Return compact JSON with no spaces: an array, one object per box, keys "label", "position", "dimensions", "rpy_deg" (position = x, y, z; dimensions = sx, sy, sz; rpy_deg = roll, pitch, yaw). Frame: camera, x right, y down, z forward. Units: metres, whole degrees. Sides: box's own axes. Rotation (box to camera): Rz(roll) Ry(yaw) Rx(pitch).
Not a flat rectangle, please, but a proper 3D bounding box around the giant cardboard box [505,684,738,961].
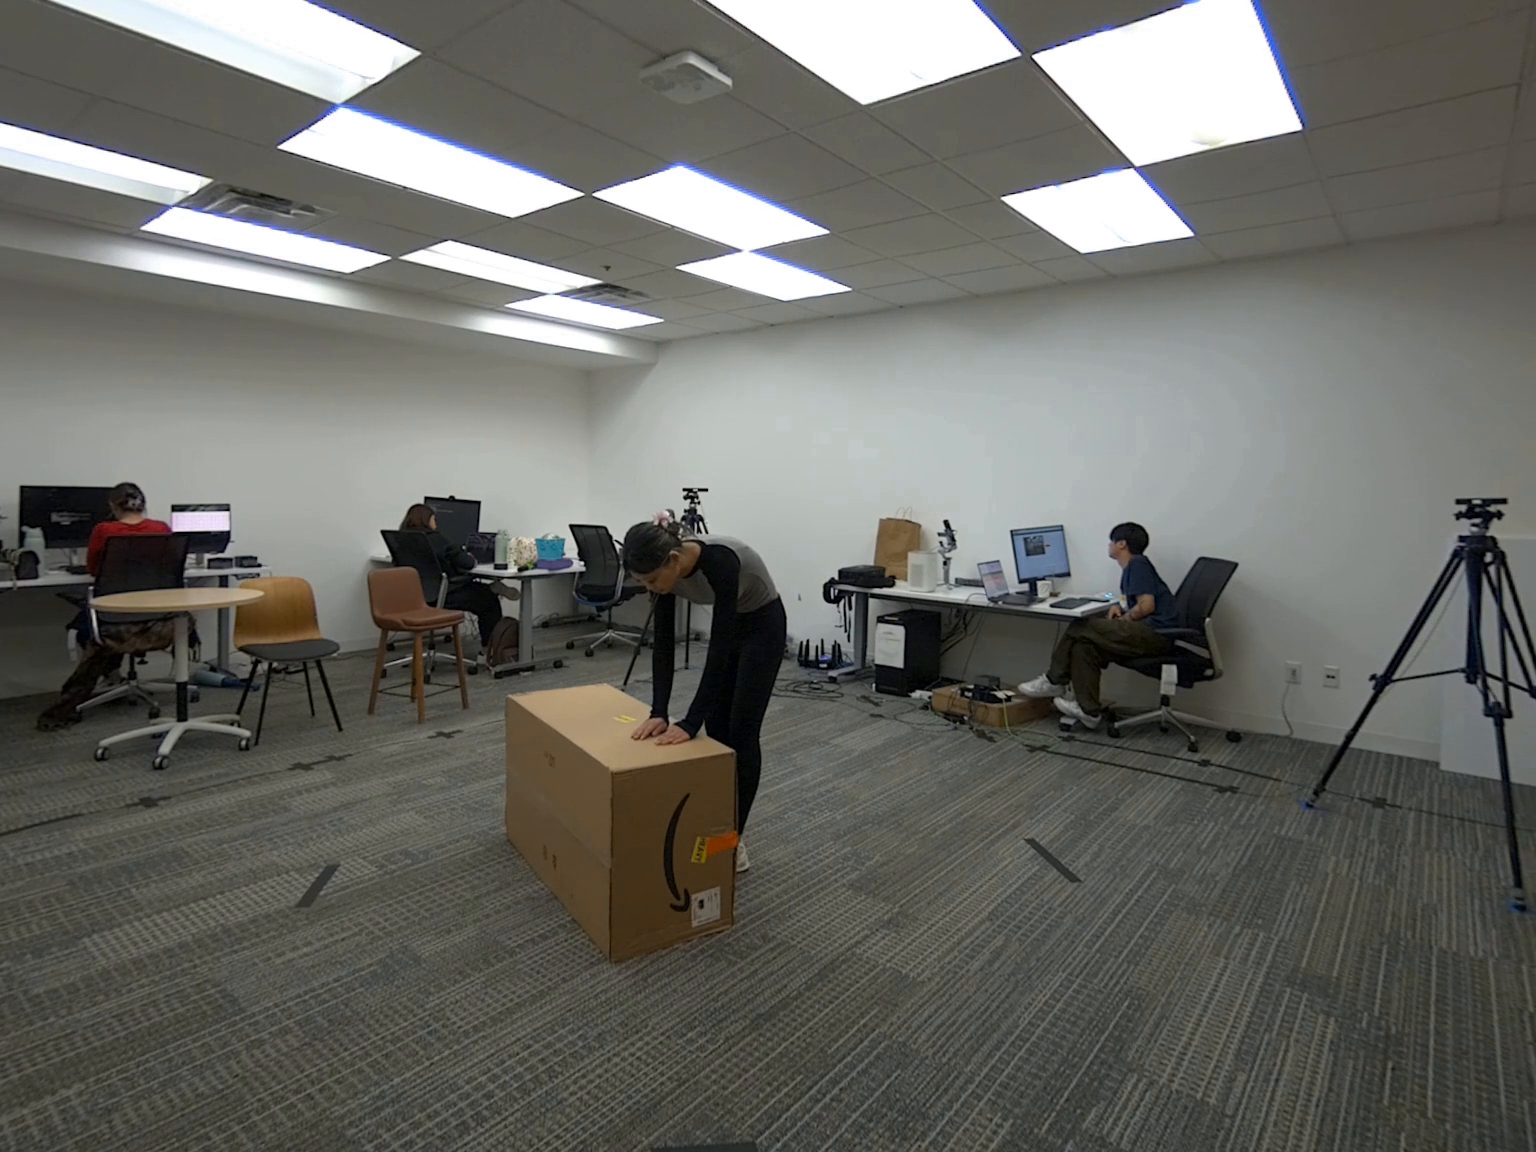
[{"label":"giant cardboard box","position":[-0.574,0.787,2.999],"dimensions":[0.414,0.575,1.059],"rpy_deg":[-1,6,-32]}]
